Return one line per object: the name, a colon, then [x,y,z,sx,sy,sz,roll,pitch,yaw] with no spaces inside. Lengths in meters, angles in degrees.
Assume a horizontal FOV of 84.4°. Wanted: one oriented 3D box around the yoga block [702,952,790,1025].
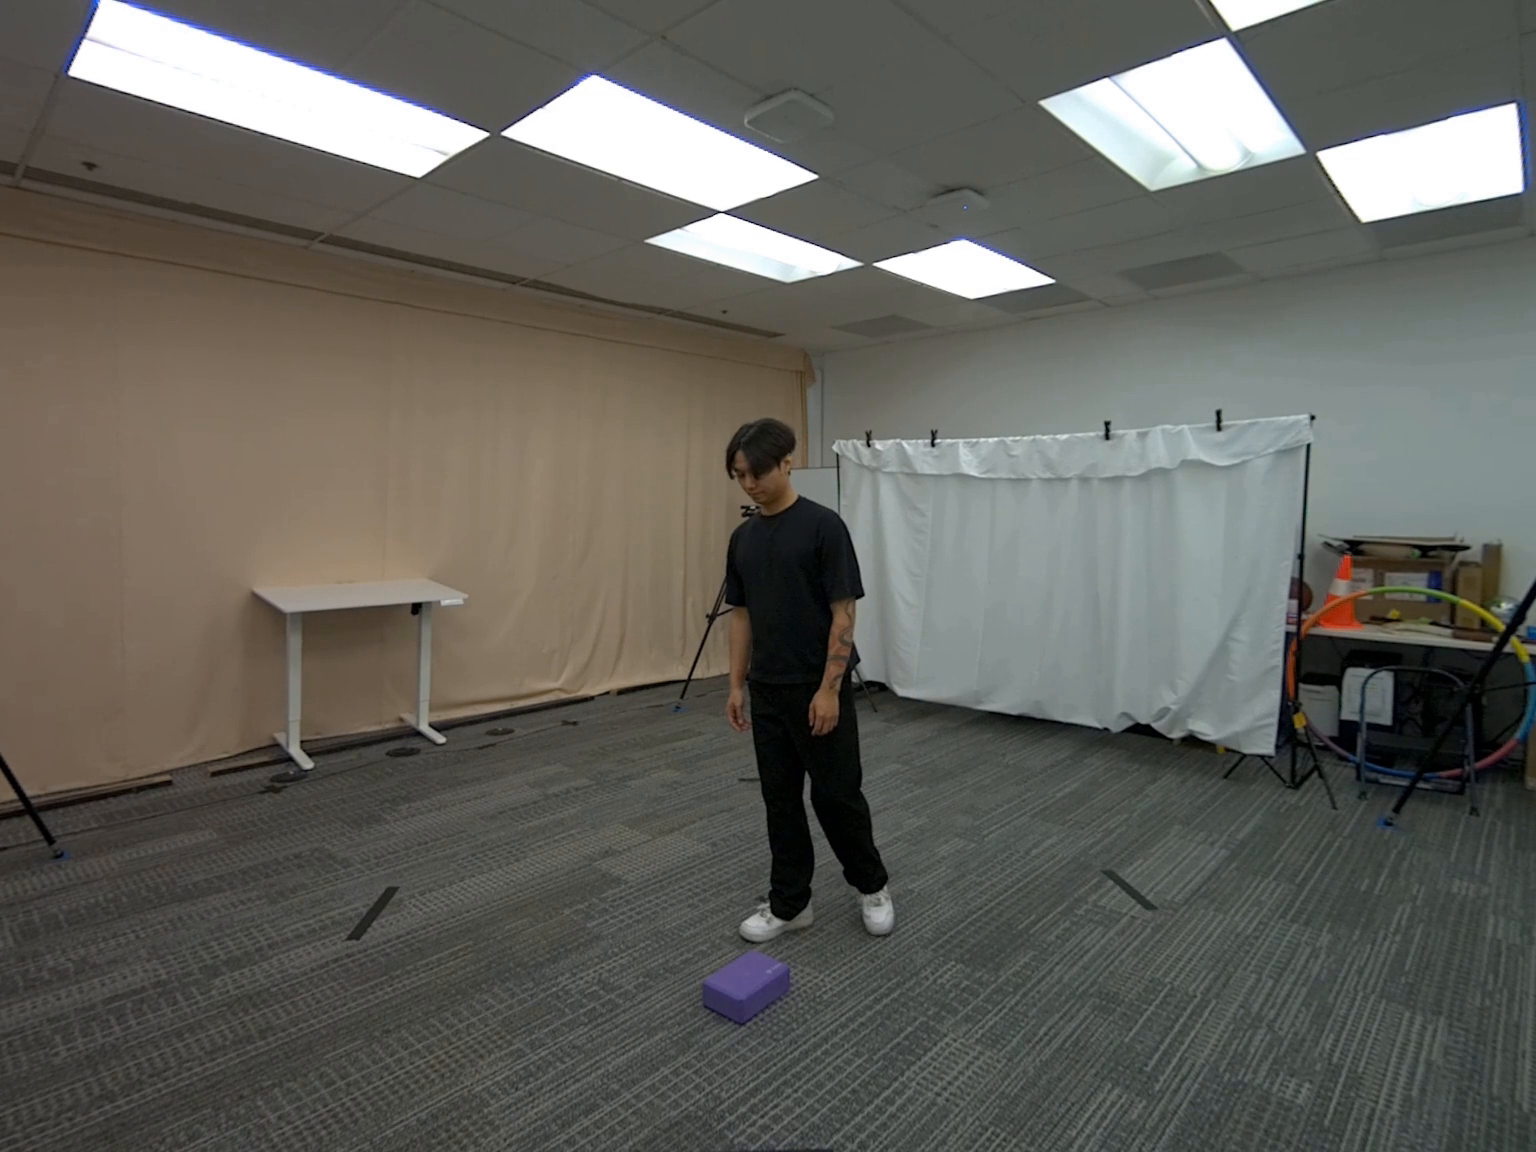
yoga block: [-0.057,1.158,2.374,0.154,0.076,0.222,4,7,39]
